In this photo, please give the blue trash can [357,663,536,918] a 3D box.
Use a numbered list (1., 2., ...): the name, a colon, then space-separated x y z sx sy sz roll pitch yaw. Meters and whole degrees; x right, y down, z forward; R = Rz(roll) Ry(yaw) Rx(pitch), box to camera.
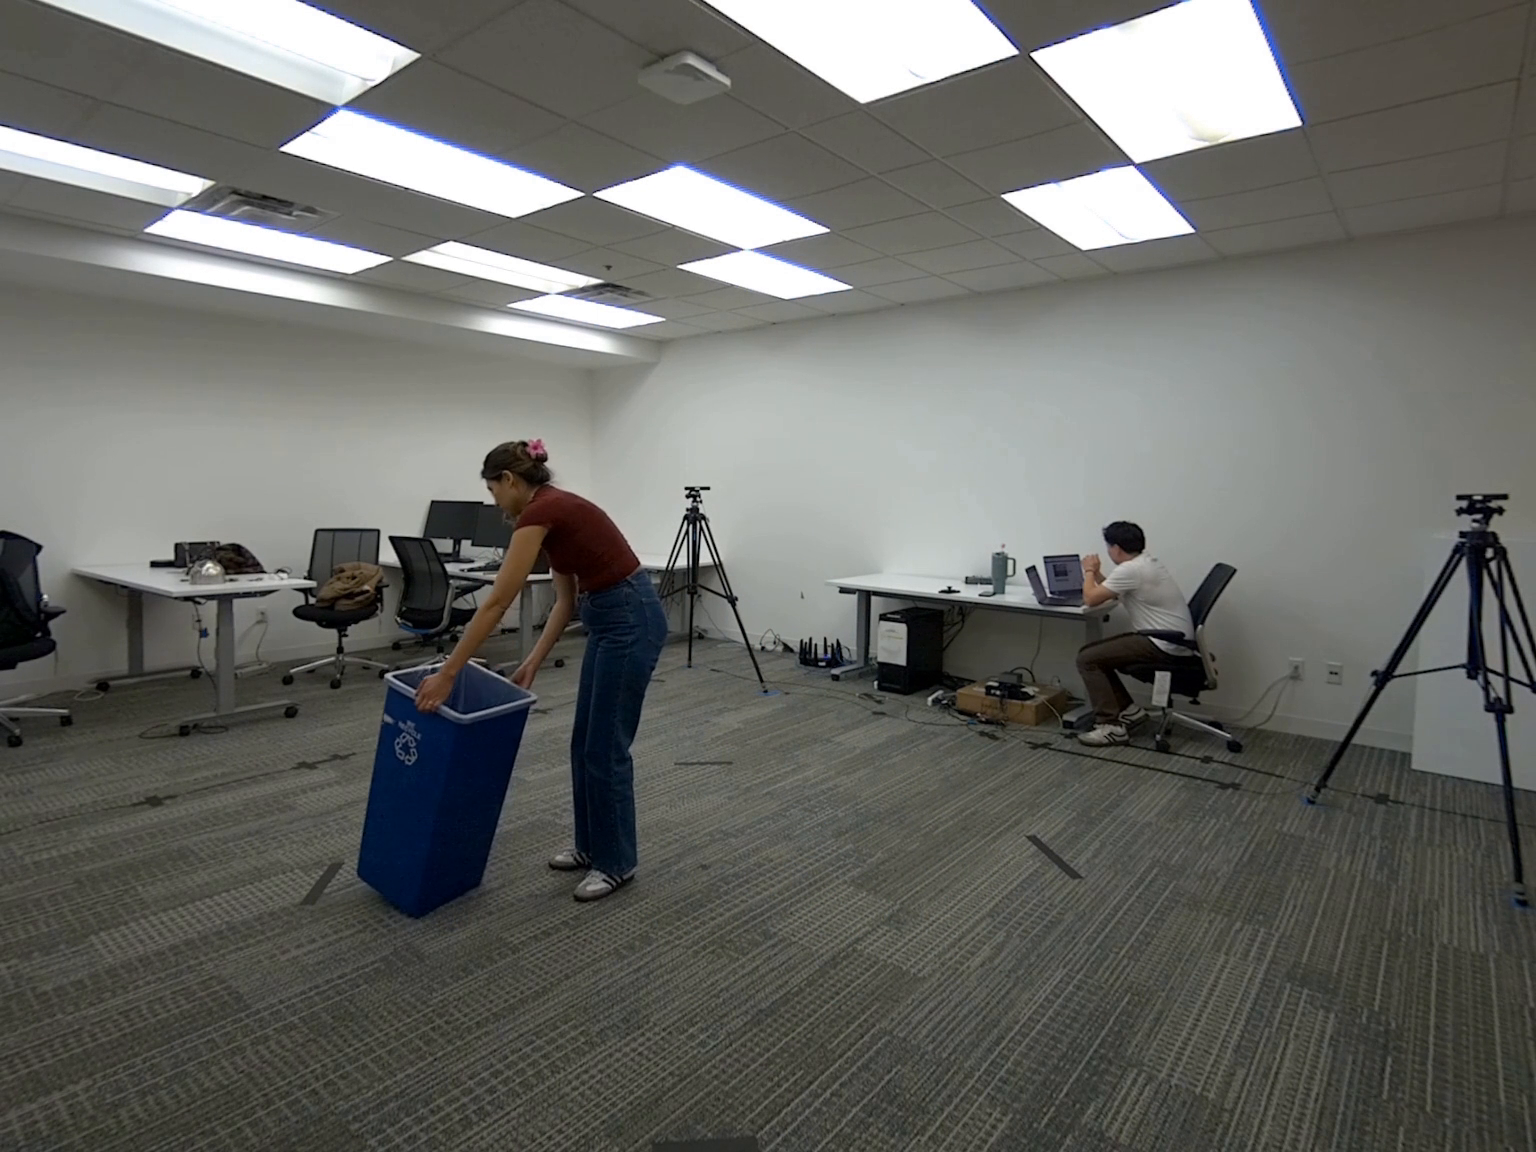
1. blue trash can: -1.100 0.697 2.860 0.386 0.709 0.368 19 10 26
